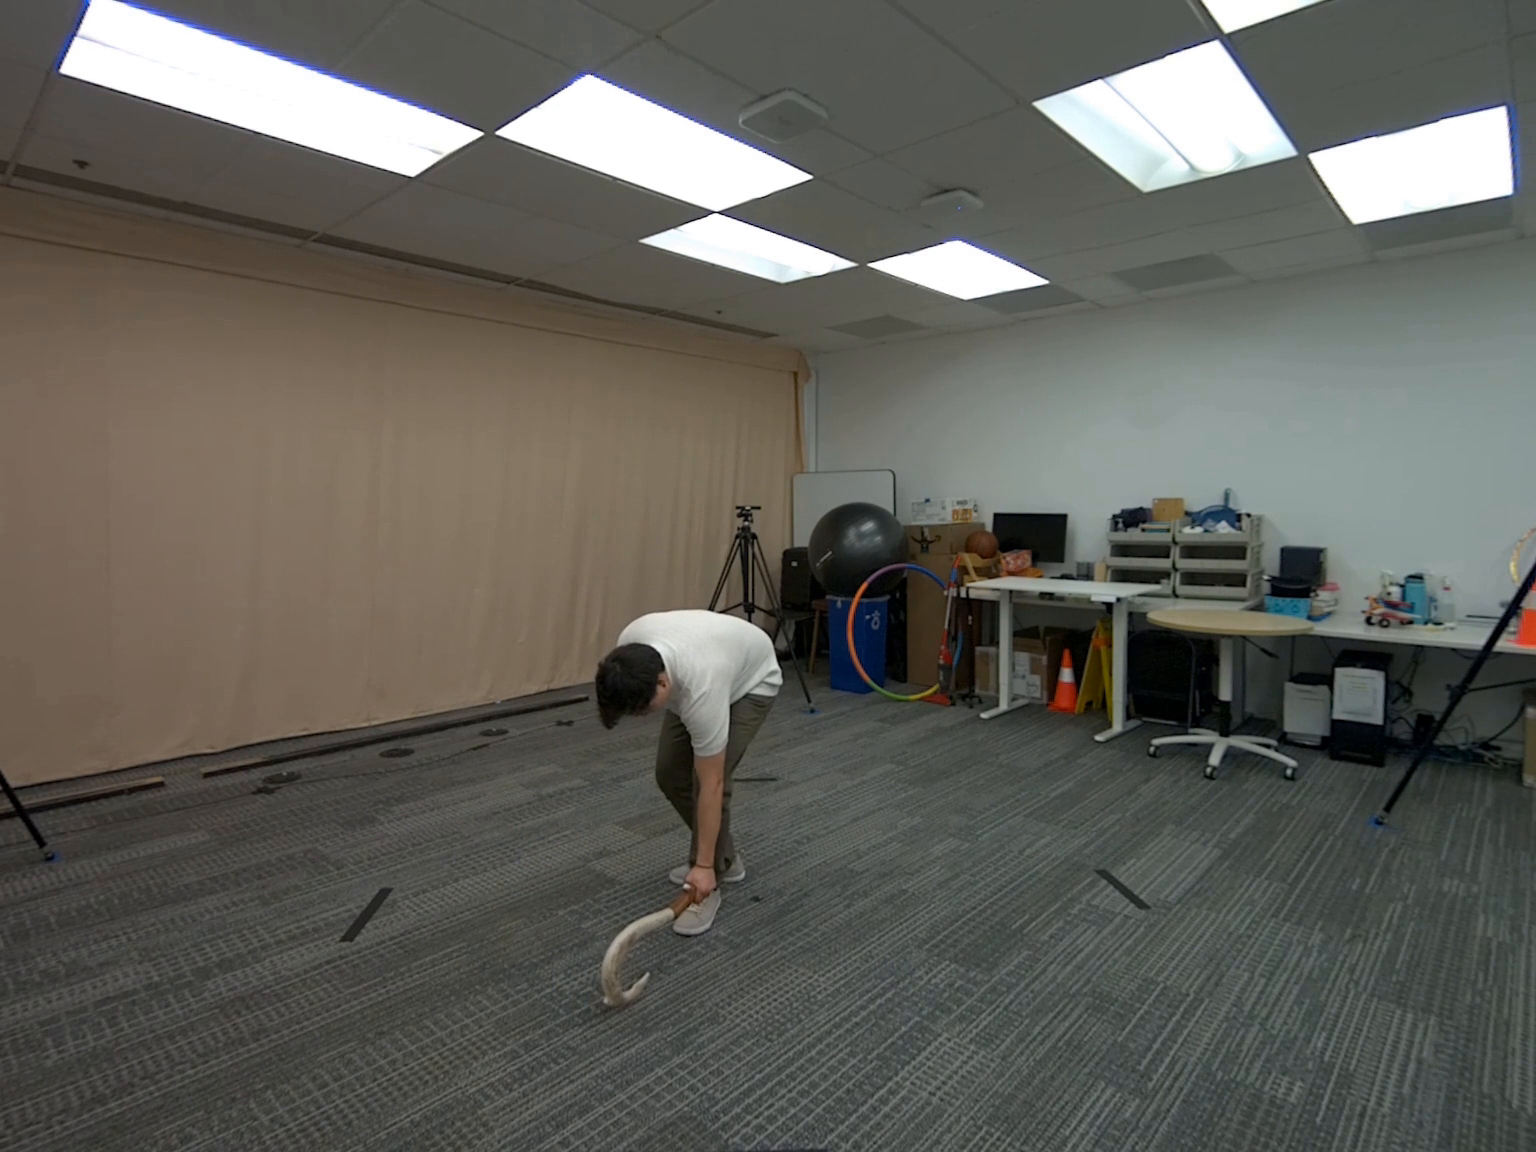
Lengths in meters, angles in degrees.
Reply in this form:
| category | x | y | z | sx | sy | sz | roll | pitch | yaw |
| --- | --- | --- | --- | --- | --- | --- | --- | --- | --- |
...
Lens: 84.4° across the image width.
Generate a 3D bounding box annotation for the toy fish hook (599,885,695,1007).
| category | x | y | z | sx | sy | sz | roll | pitch | yaw |
| --- | --- | --- | --- | --- | --- | --- | --- | --- | --- |
| toy fish hook | -0.318 | 1.057 | 2.474 | 0.050 | 0.223 | 0.495 | 11 | 17 | 31 |
